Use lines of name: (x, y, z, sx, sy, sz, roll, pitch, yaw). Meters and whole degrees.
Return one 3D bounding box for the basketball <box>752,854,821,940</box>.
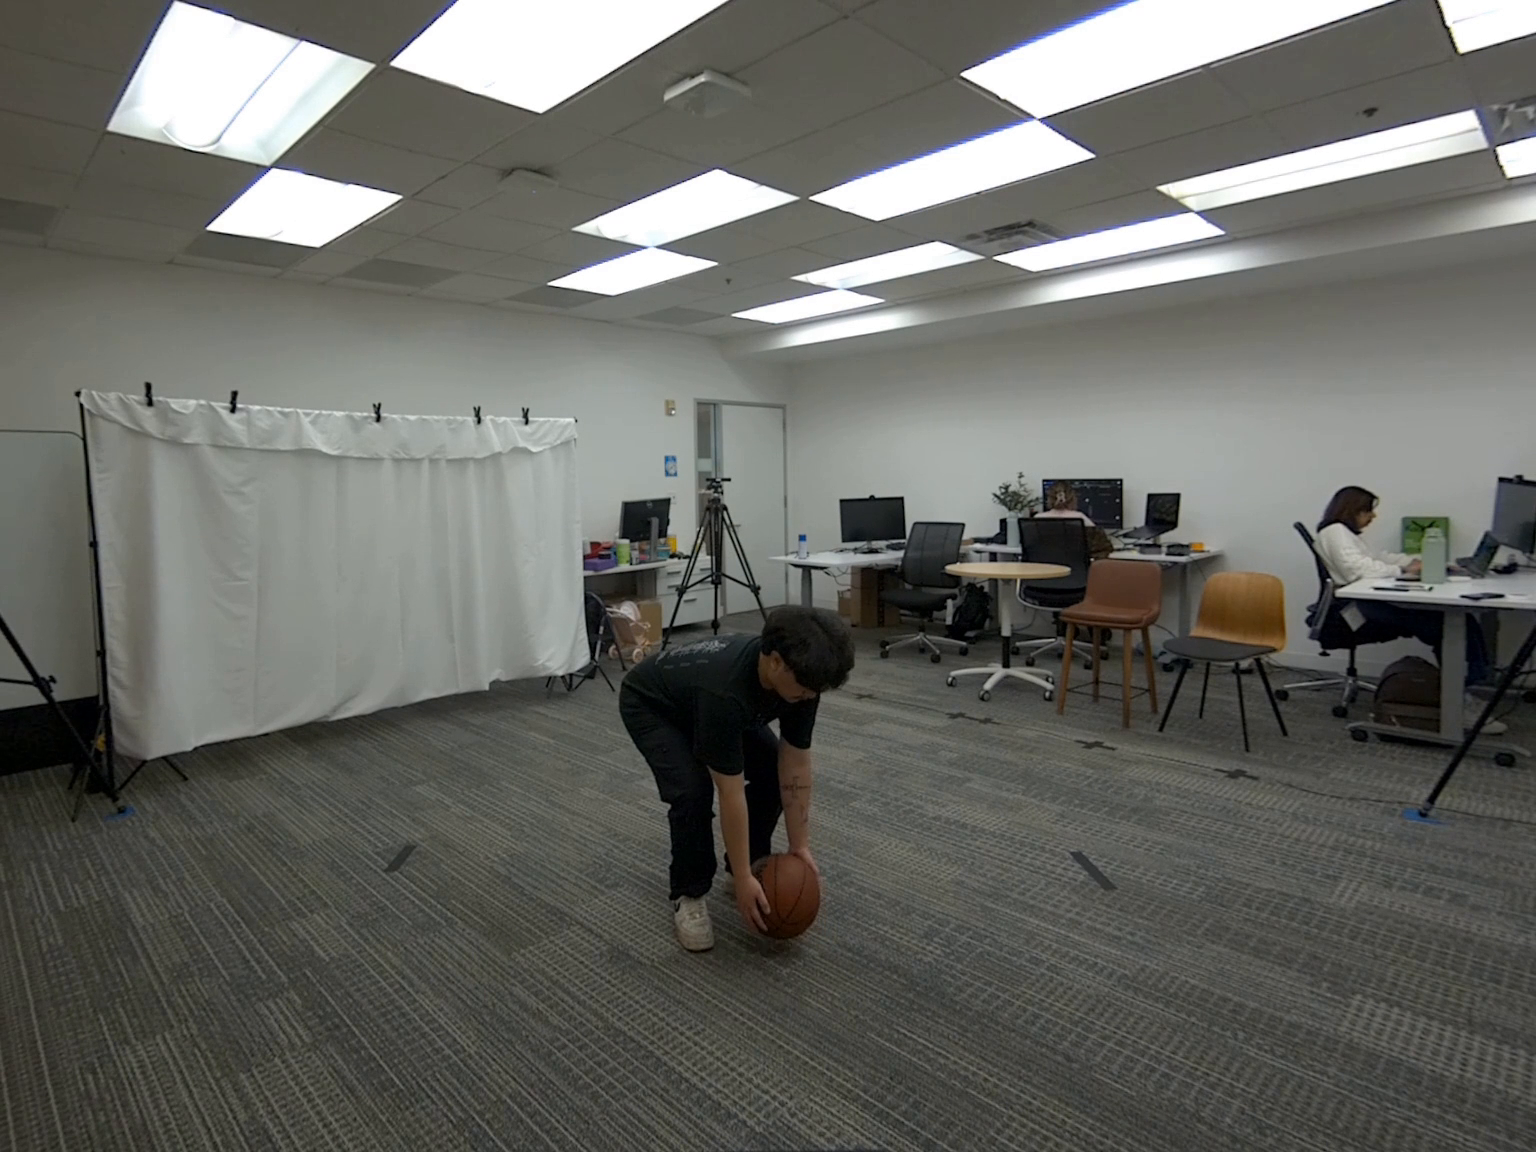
basketball: (0.029, 0.944, 2.556, 0.236, 0.235, 0.237, -1, 5, -2)
